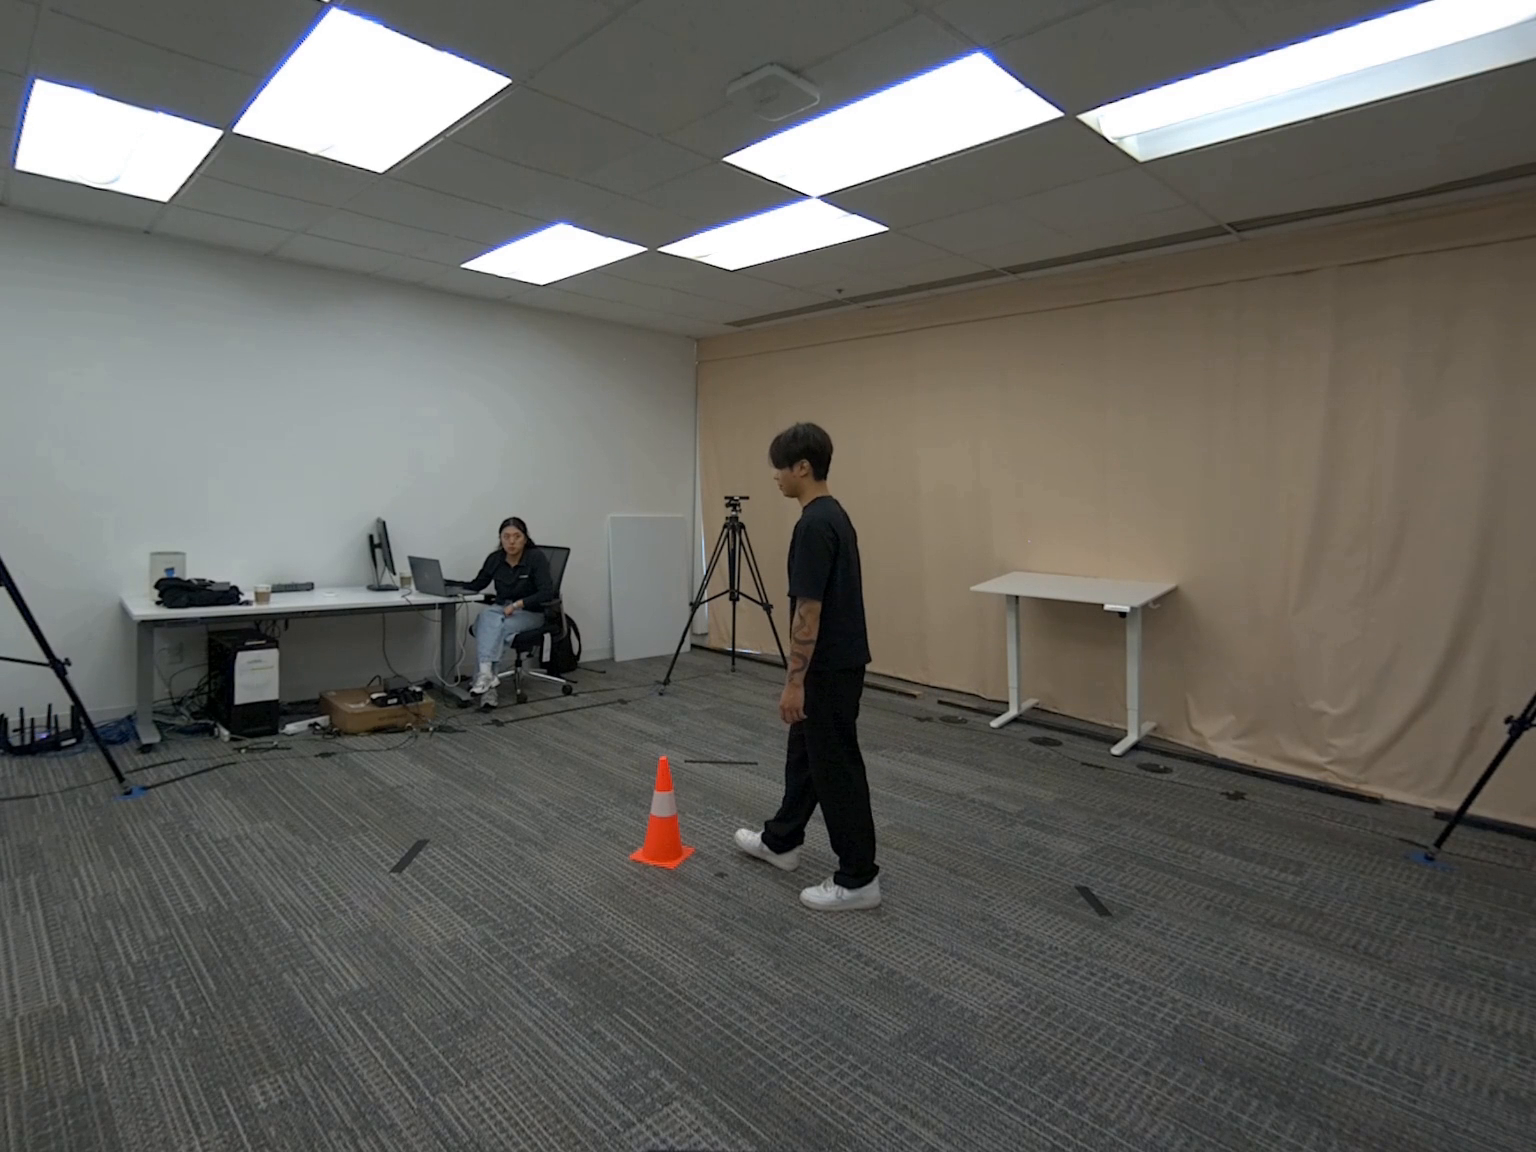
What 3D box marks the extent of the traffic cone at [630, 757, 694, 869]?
[{"bbox_3d":[-0.406,0.894,3.269,0.207,0.383,0.201,4,3,25],"label":"traffic cone"}]
